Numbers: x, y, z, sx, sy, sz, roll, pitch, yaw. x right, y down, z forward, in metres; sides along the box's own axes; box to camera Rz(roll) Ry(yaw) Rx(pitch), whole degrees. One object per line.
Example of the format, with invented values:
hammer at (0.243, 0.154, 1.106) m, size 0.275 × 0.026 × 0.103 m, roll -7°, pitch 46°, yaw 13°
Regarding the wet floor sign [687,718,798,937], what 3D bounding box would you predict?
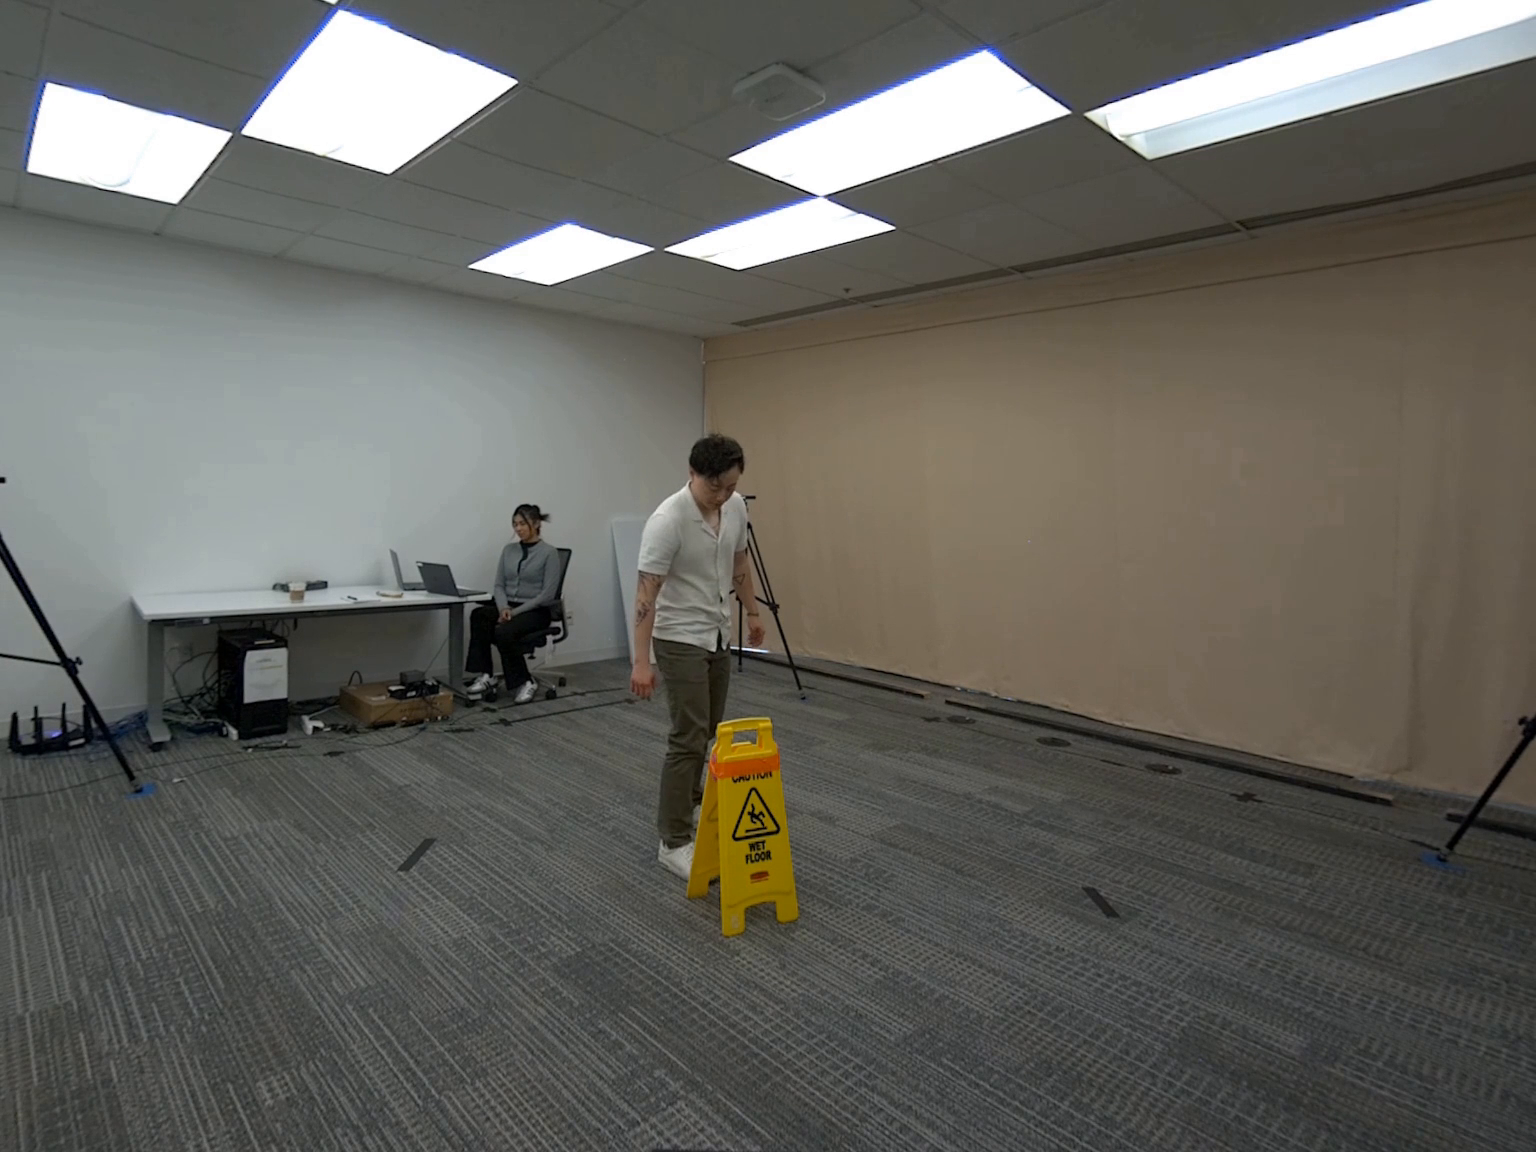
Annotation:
wet floor sign at (-0.092, 0.803, 2.833) m, size 0.277 × 0.645 × 0.296 m, roll 0°, pitch 3°, yaw -29°
